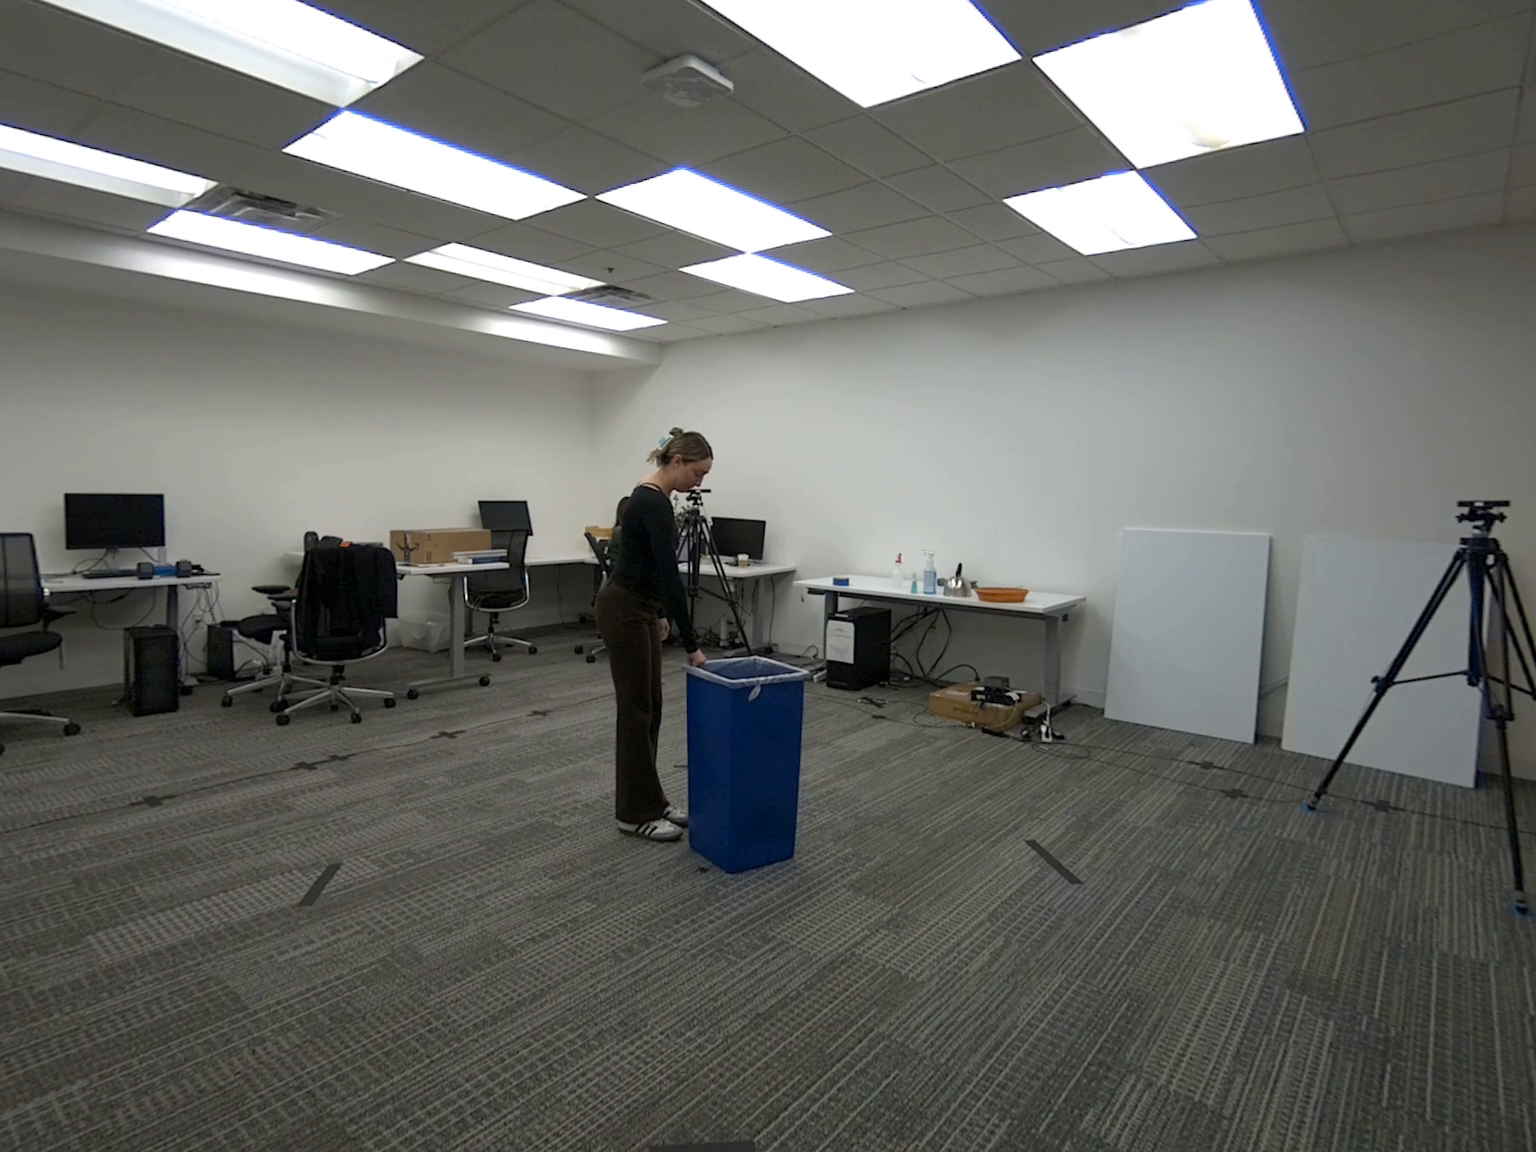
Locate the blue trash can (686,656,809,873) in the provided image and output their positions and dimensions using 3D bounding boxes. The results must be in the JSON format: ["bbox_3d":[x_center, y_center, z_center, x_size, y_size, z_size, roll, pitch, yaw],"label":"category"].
[{"bbox_3d":[-0.110,0.703,3.266,0.367,0.712,0.386,0,3,-35],"label":"blue trash can"}]
